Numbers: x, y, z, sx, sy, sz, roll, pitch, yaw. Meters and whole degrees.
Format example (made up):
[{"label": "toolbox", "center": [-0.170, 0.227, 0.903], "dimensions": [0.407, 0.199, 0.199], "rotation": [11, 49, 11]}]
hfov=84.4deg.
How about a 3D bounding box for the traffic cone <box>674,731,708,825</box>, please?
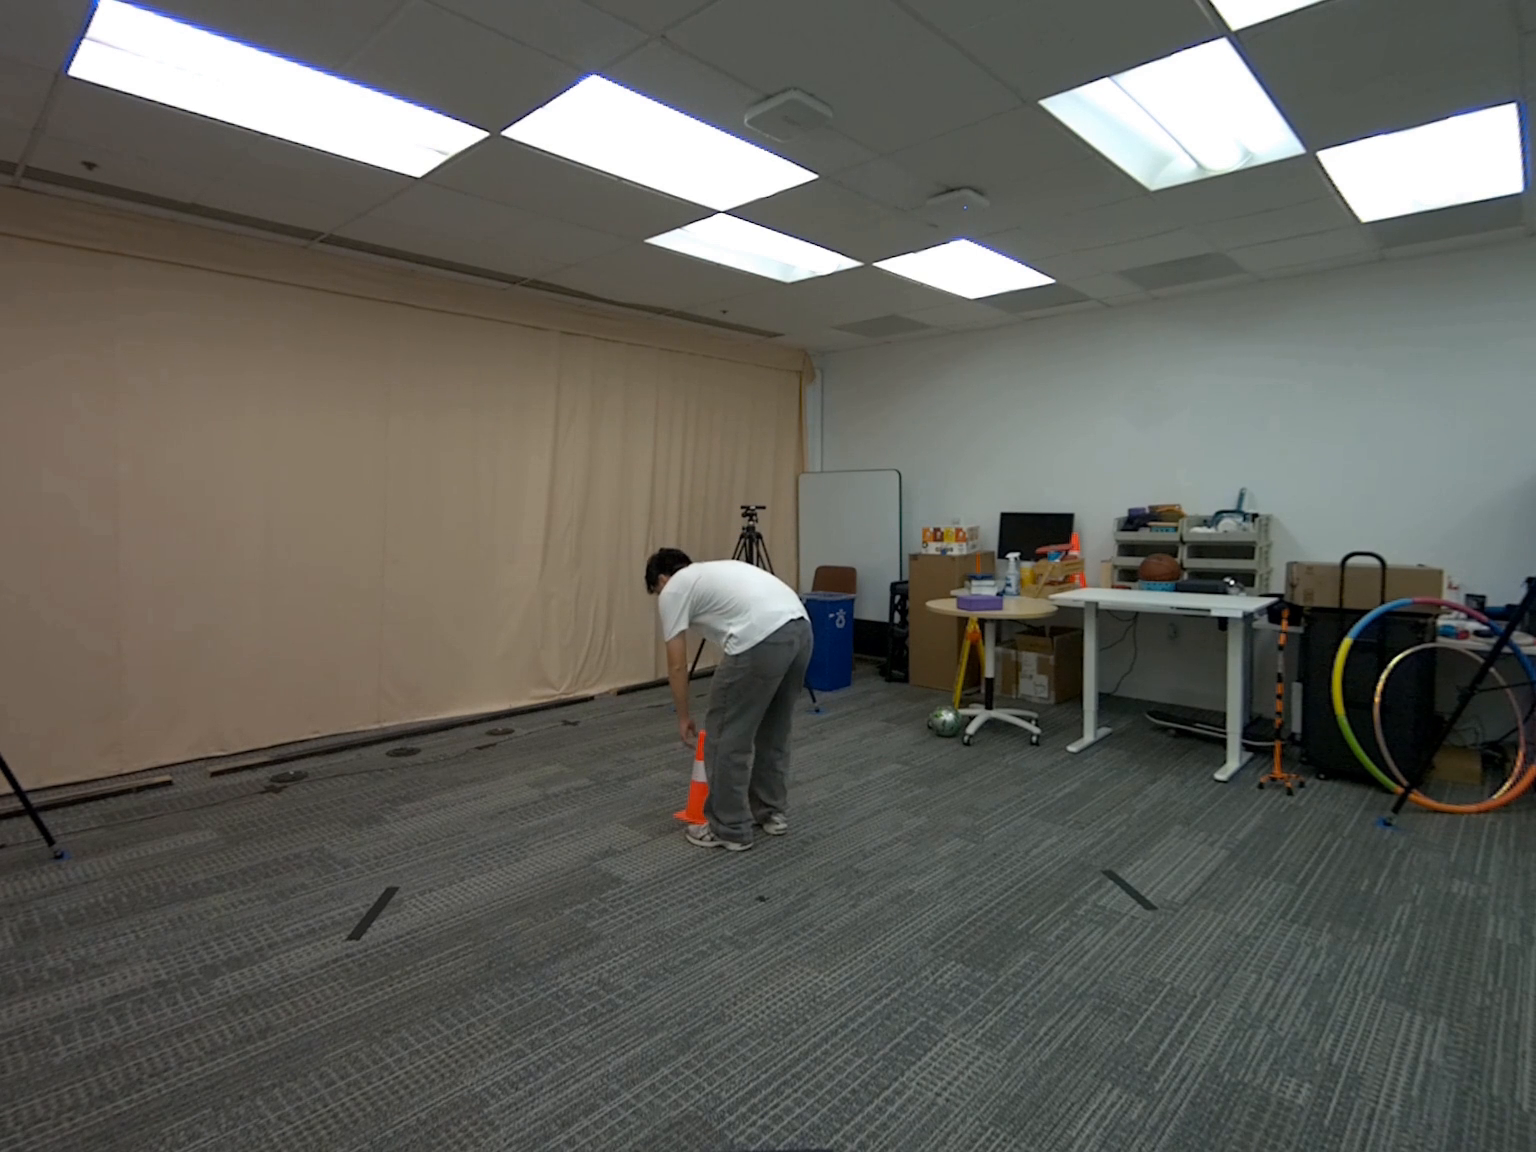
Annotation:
[{"label": "traffic cone", "center": [-0.287, 0.892, 3.796], "dimensions": [0.197, 0.383, 0.212], "rotation": [-2, 3, -44]}]
